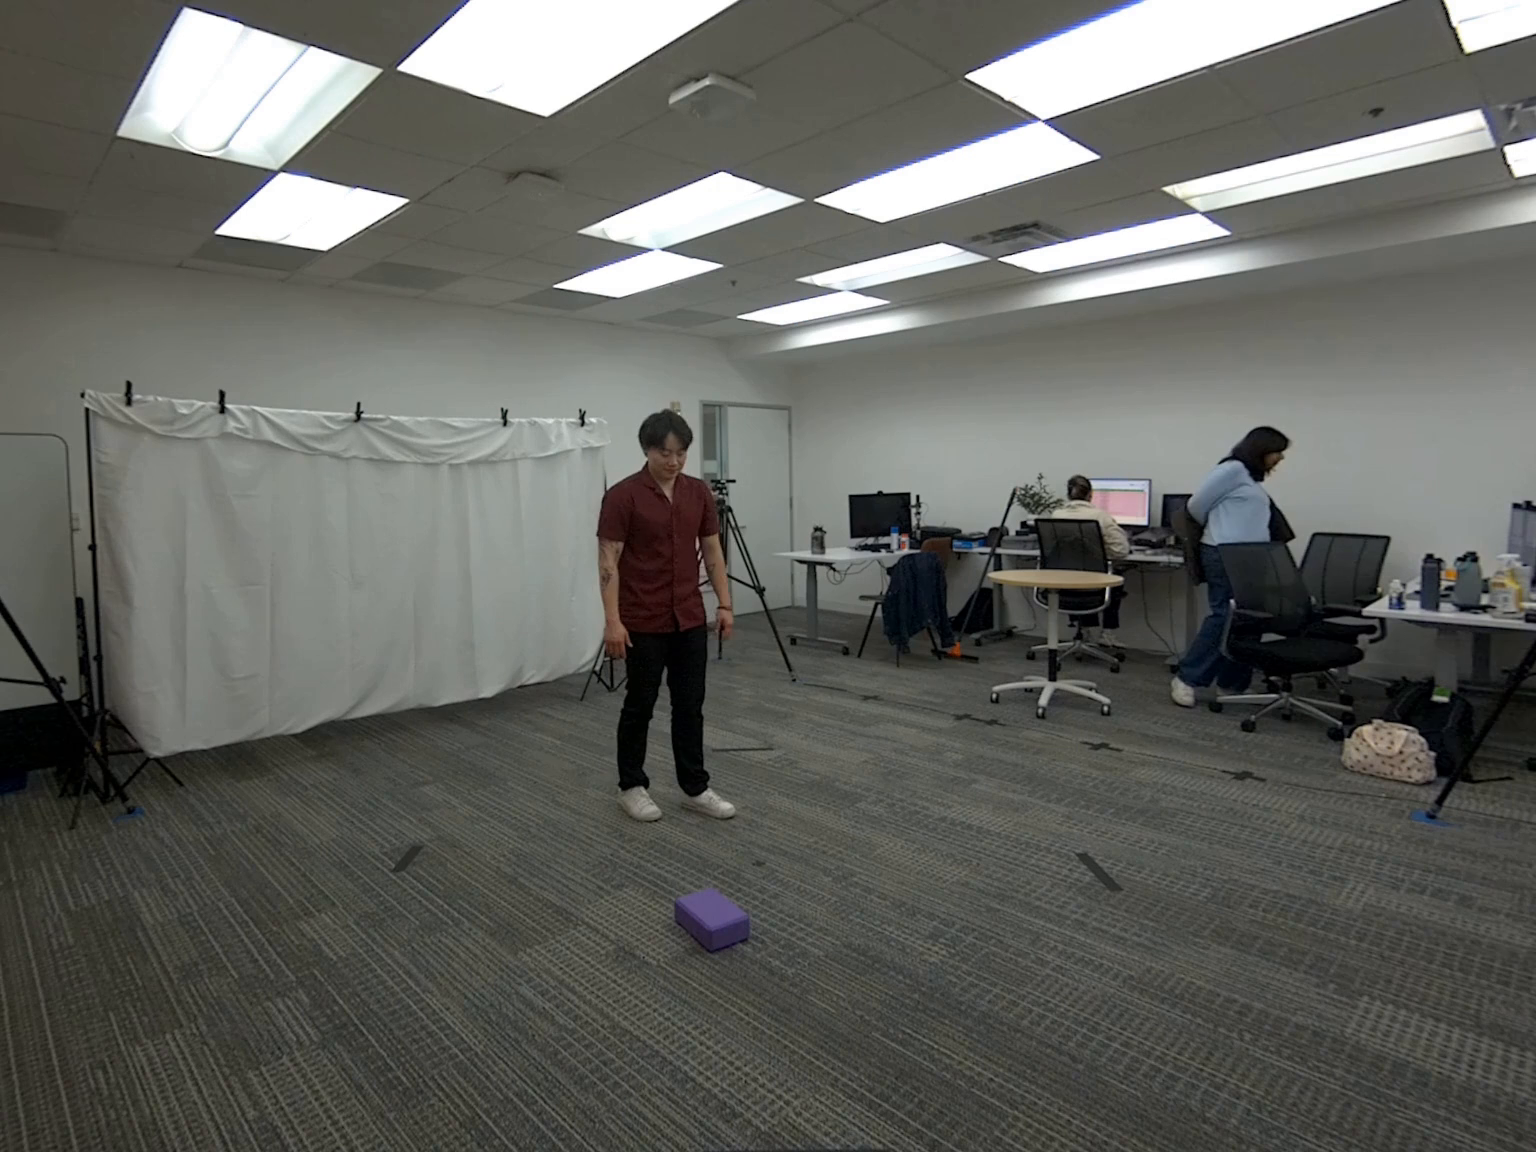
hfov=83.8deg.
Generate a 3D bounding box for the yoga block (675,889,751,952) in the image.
[{"bbox_3d":[-0.171,1.064,2.652,0.145,0.076,0.236,-5,8,-32],"label":"yoga block"}]
